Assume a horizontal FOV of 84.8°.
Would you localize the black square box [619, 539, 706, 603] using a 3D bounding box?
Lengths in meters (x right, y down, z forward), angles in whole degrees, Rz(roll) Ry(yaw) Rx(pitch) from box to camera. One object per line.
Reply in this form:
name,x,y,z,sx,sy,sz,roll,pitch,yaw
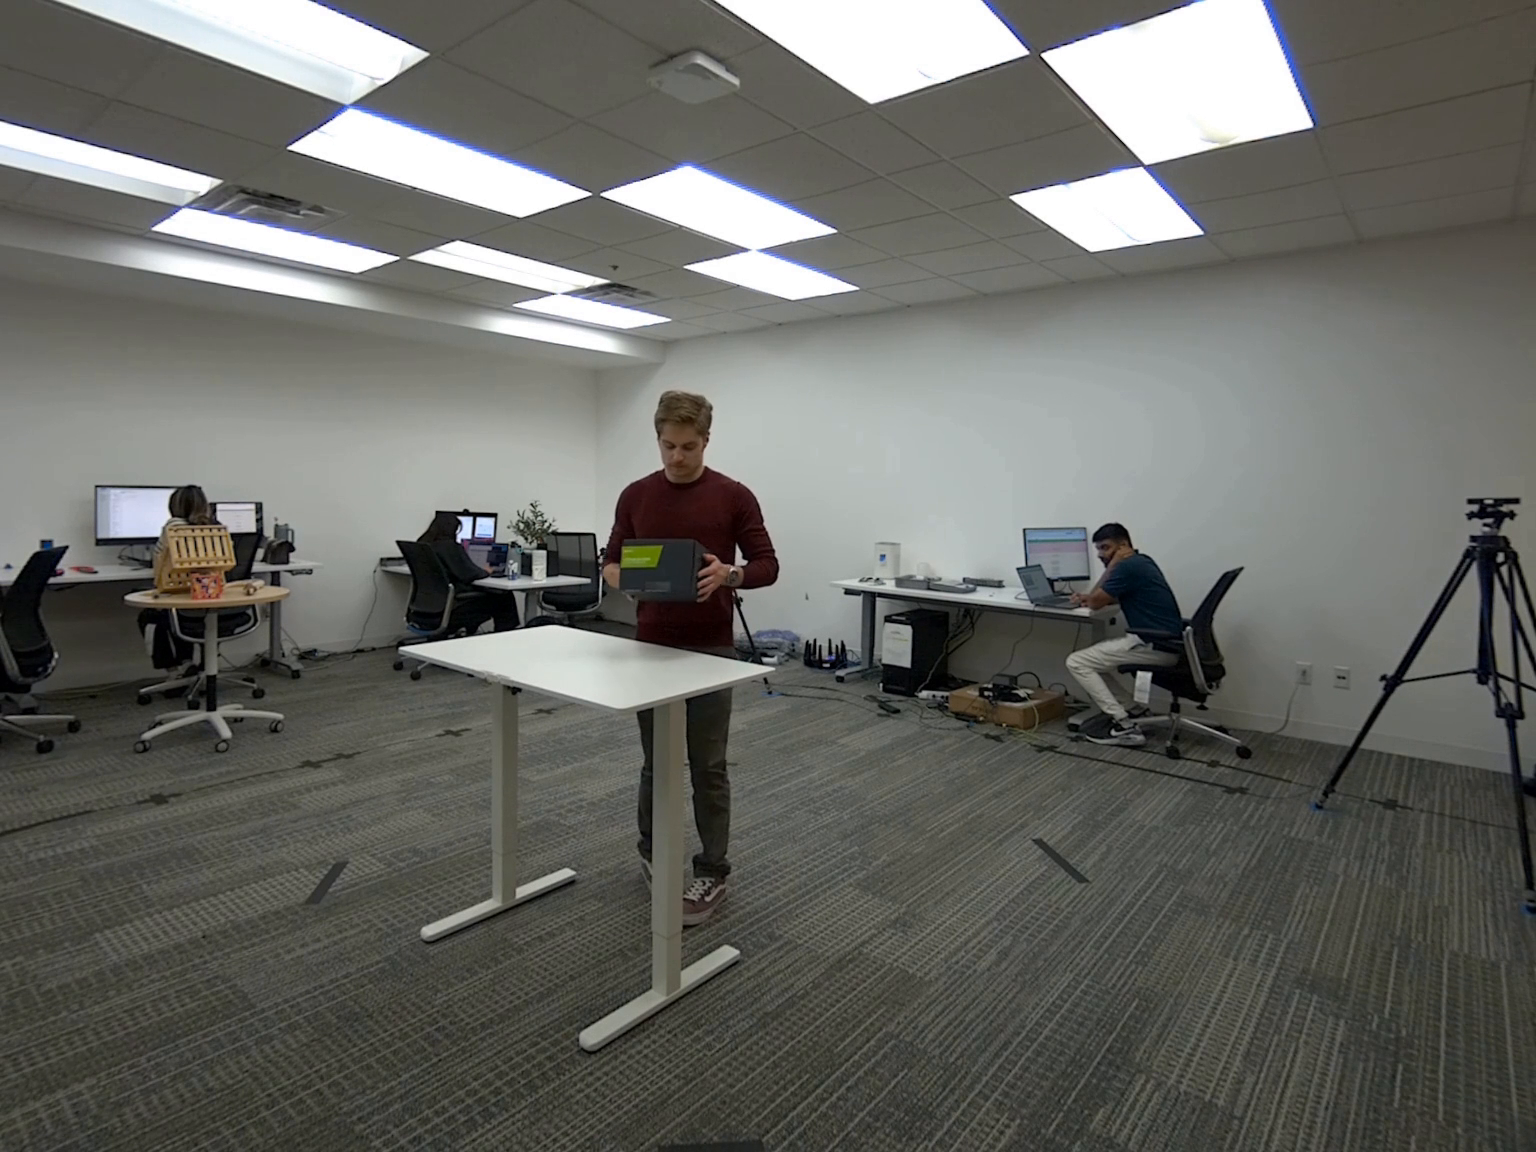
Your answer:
black square box,-0.328,-0.019,2.603,0.231,0.157,0.212,0,-9,11
